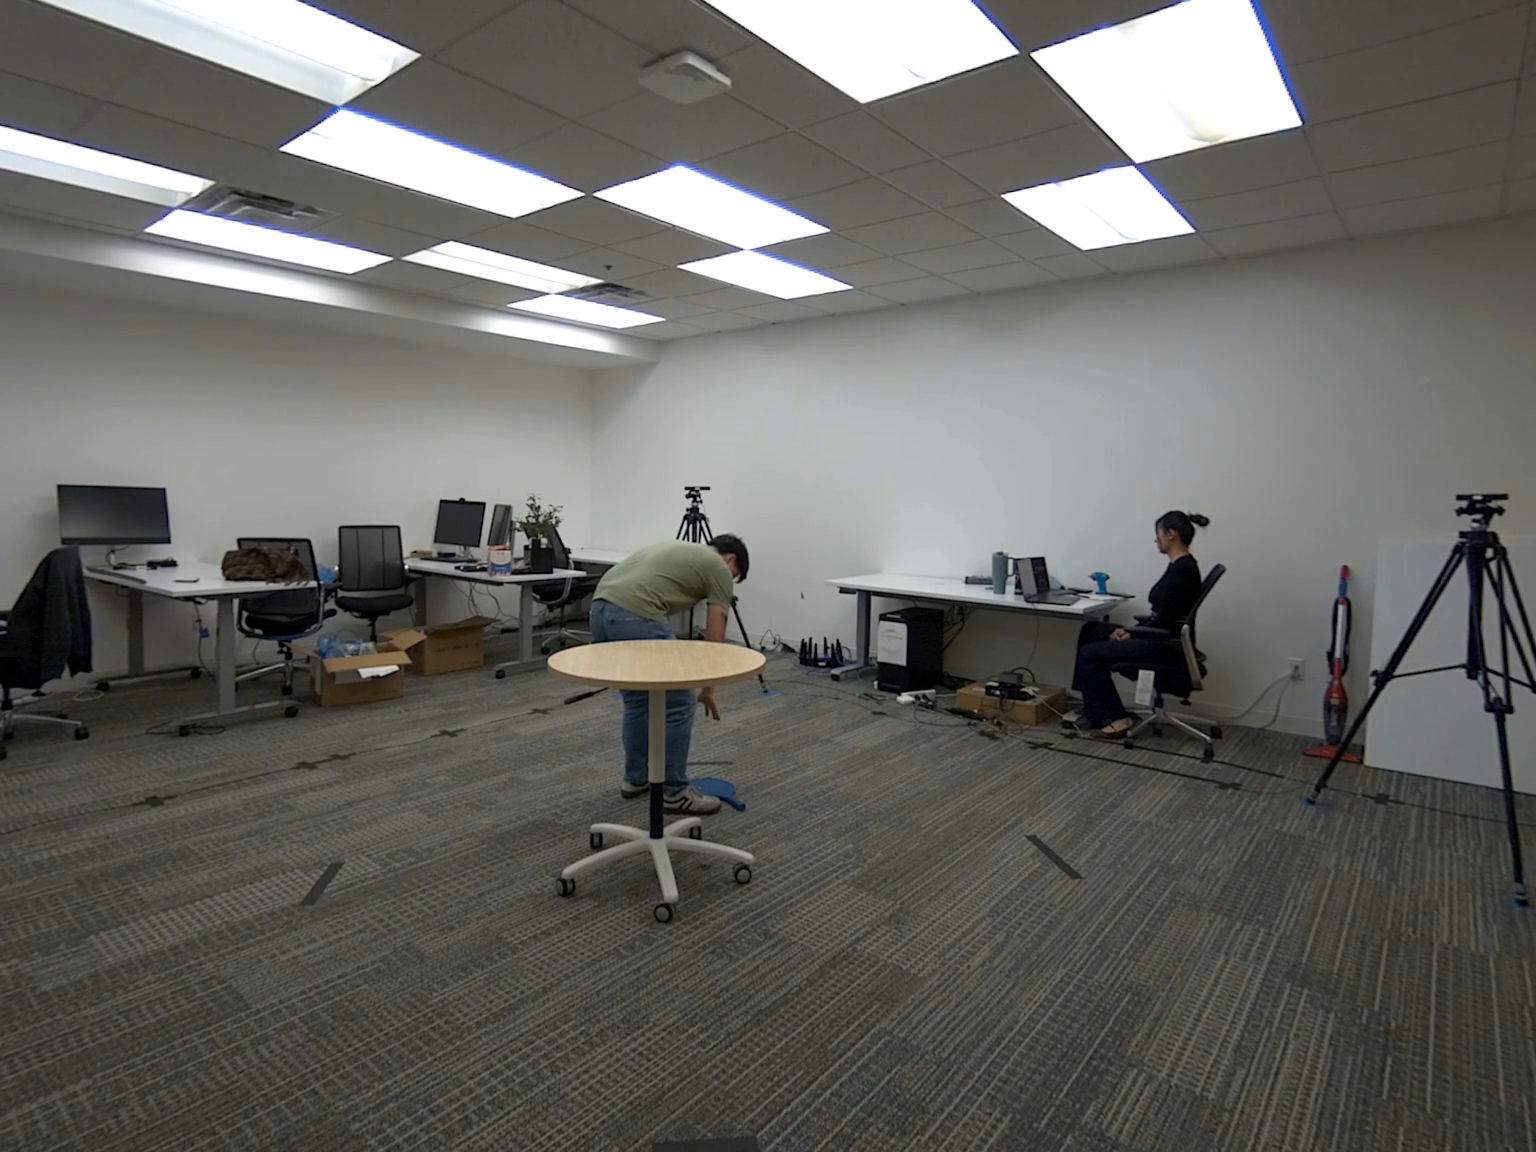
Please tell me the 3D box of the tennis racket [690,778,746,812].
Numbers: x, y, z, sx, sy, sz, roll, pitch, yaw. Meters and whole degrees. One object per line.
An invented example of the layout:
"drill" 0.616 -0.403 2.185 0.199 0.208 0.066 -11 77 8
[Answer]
"tennis racket" -0.230 0.976 3.858 0.208 0.031 0.446 -3 5 -32
